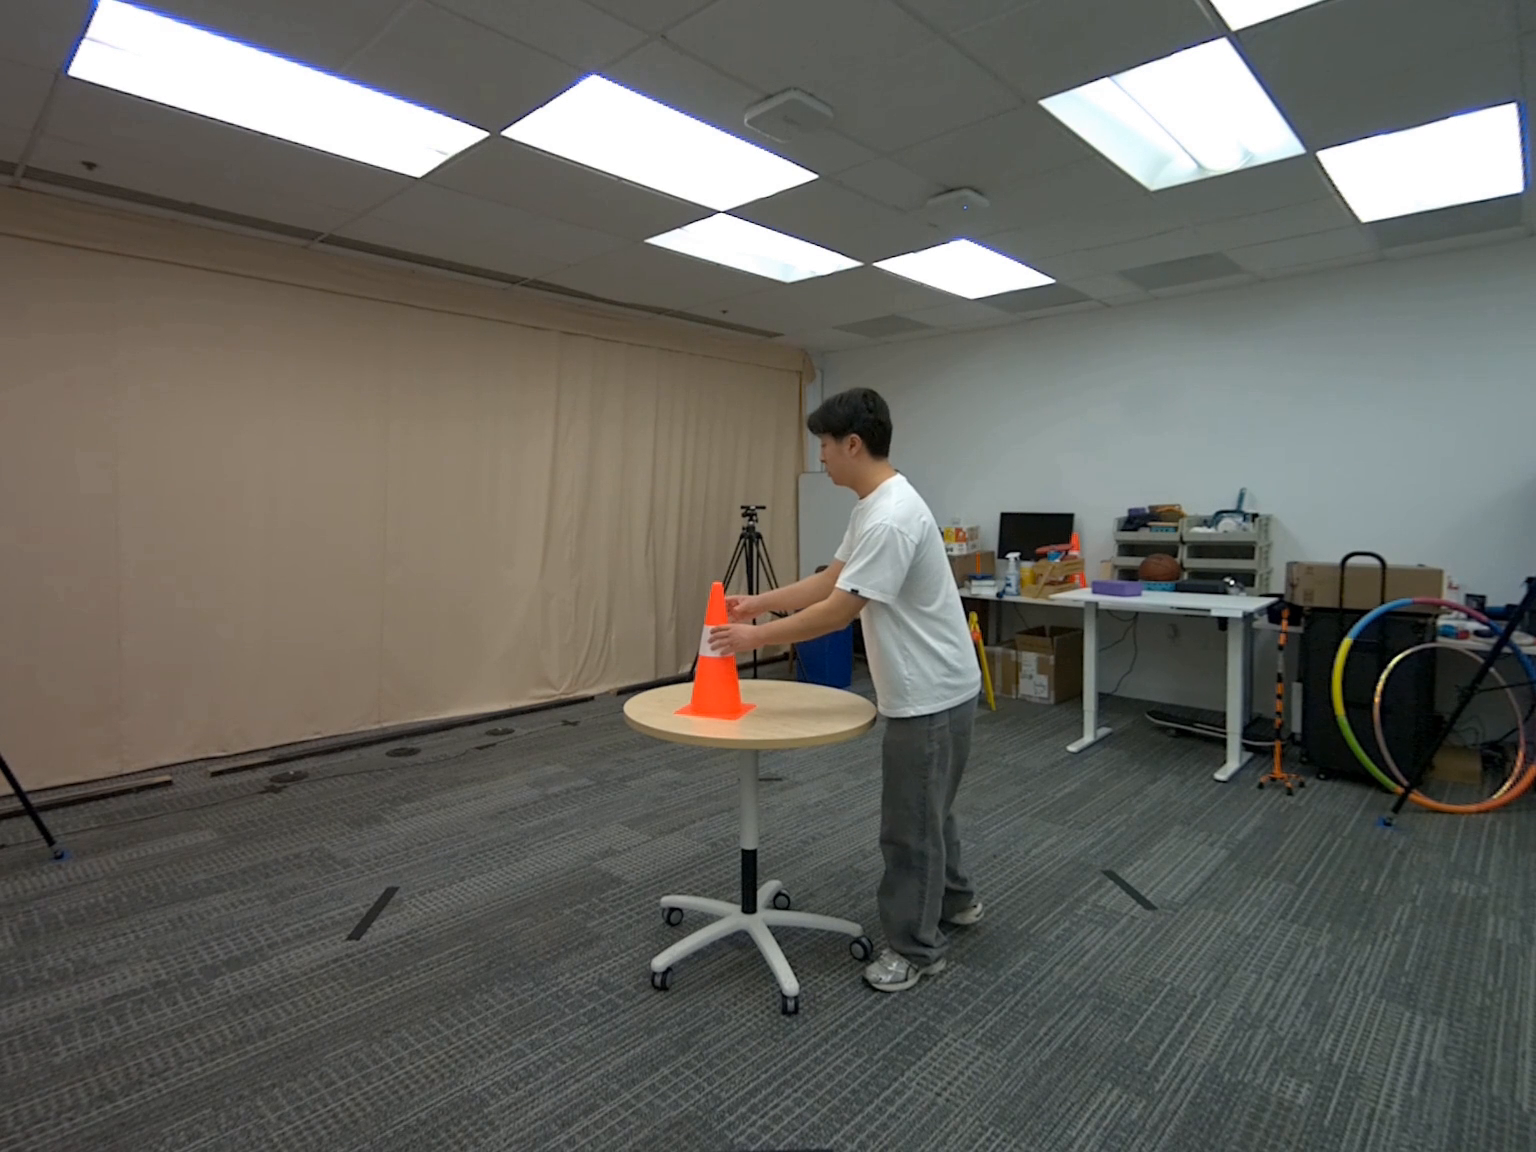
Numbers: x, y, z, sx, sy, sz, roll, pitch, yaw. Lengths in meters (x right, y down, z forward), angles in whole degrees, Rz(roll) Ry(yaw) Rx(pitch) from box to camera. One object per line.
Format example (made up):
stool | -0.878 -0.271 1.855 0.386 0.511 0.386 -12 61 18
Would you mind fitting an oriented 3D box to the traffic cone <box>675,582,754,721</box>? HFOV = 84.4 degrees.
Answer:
traffic cone | -0.144 0.218 2.511 0.210 0.383 0.199 0 1 21
